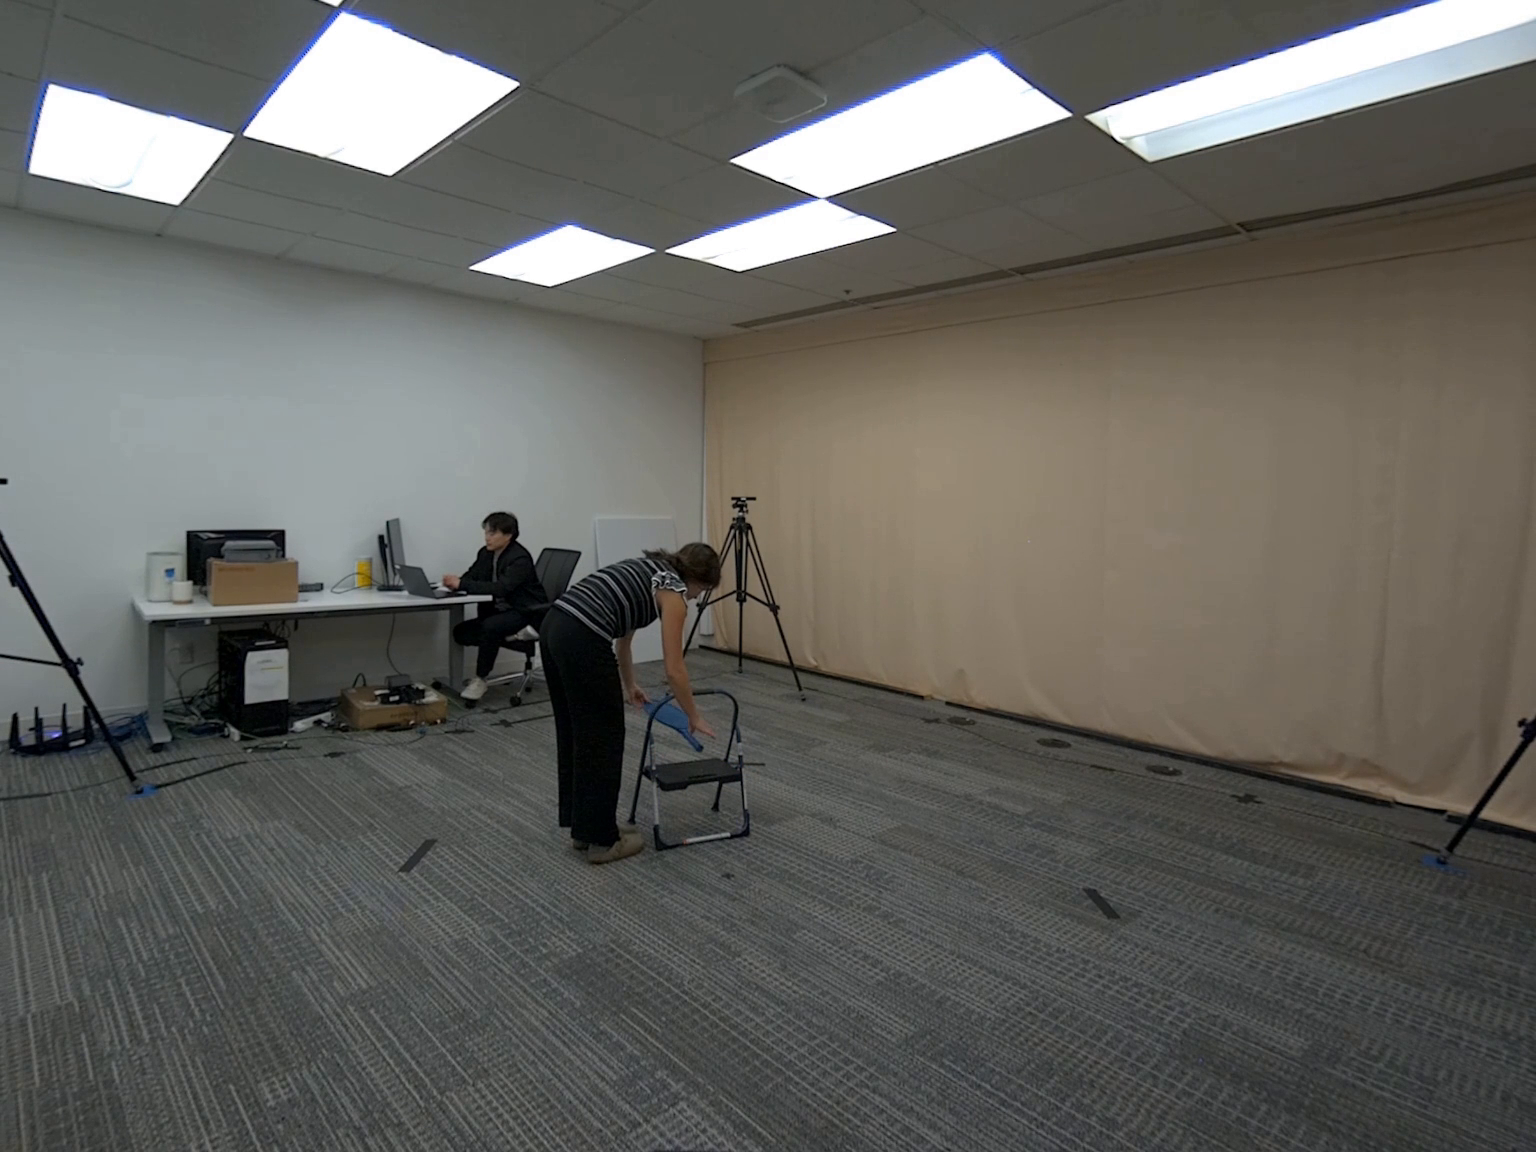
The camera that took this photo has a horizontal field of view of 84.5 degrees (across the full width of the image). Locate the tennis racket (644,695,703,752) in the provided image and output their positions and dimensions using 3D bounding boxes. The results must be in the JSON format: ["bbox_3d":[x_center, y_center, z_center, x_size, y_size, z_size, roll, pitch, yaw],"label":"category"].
[{"bbox_3d":[-0.412,0.624,3.574,0.208,0.031,0.446,10,15,-34],"label":"tennis racket"}]
